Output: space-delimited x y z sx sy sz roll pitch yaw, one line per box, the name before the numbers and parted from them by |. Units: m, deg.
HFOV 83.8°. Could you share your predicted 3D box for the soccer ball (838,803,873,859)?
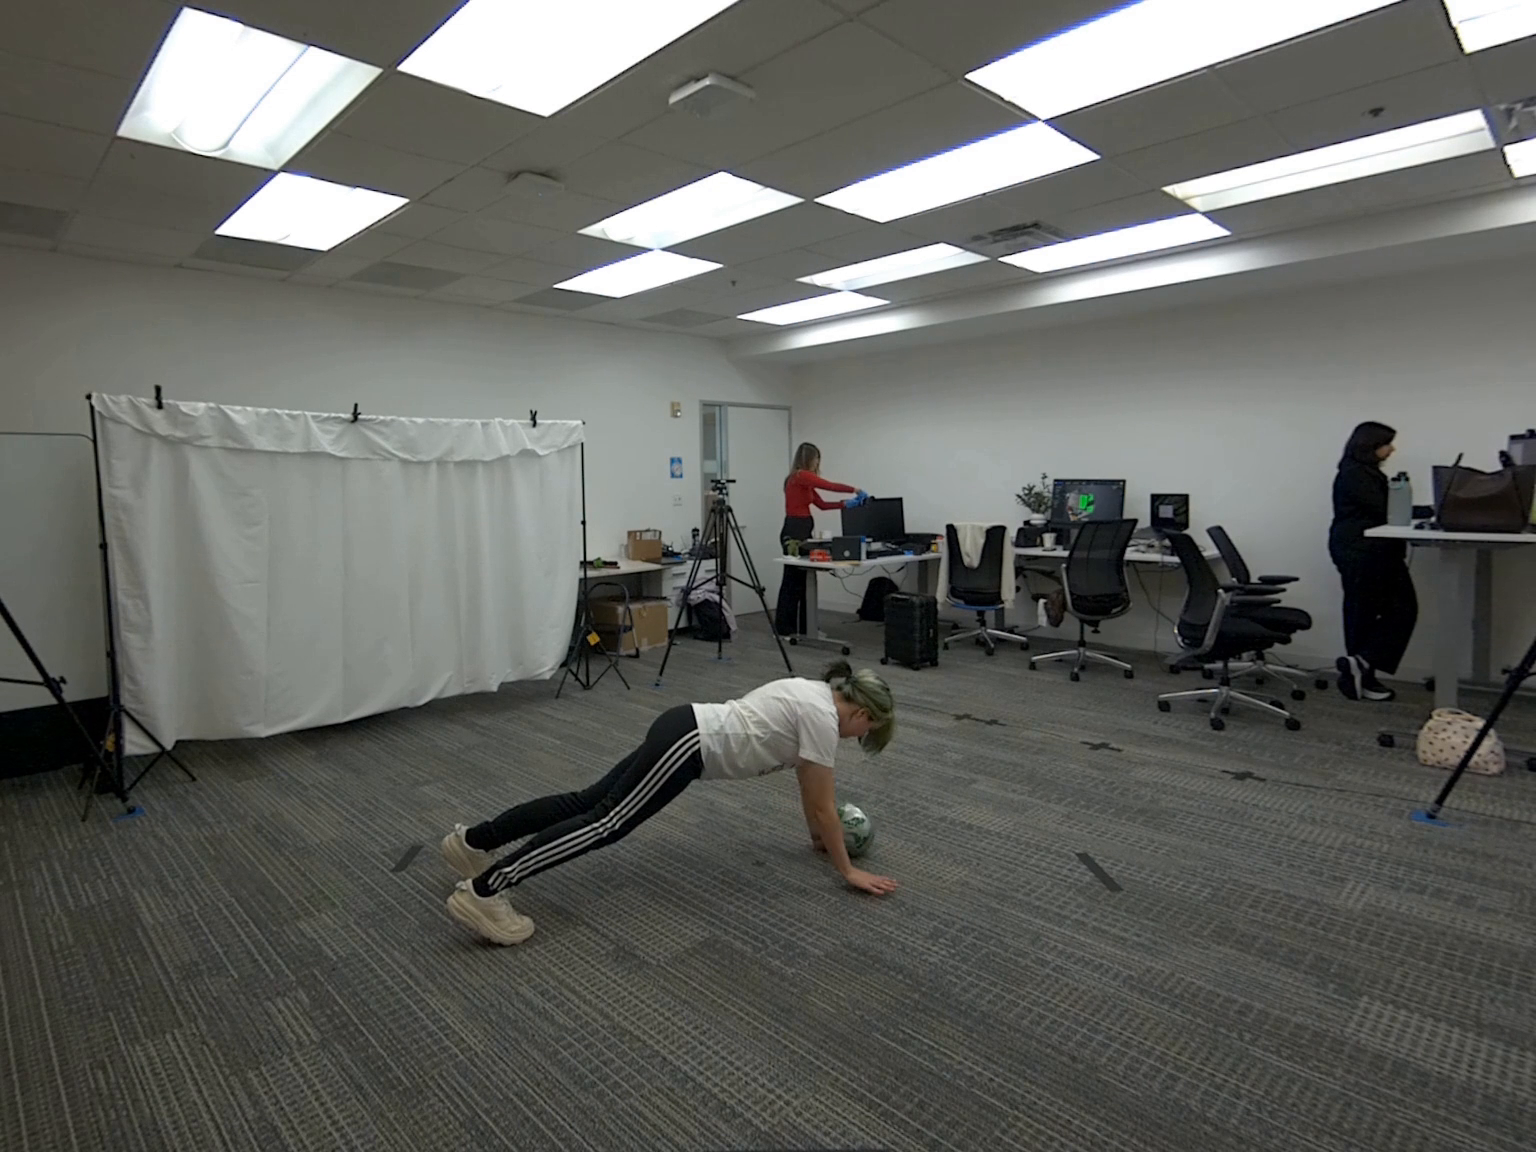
soccer ball | 0.310 0.946 3.173 0.187 0.187 0.188 -1 5 -2
